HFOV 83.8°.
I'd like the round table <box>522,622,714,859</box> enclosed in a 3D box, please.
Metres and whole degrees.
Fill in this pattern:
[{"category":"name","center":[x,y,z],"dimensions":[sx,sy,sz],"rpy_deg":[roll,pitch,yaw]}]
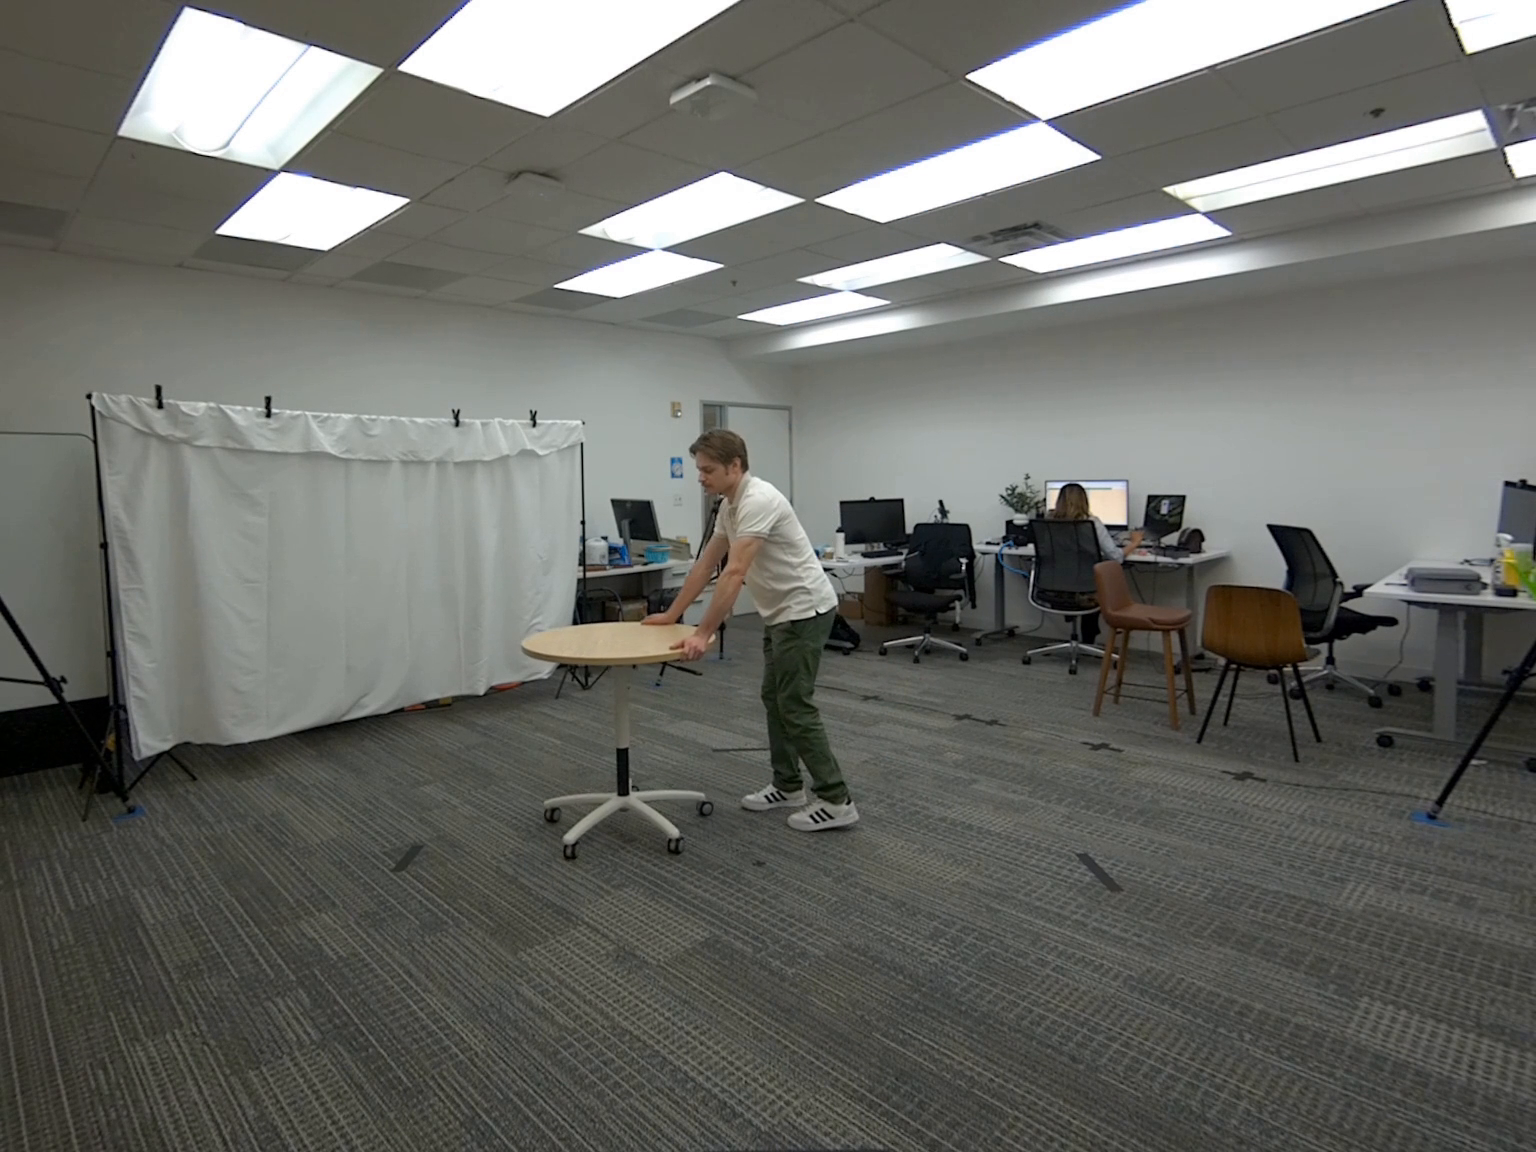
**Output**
[{"category":"round table","center":[-0.582,0.635,3.424],"dimensions":[0.763,0.791,0.768],"rpy_deg":[-1,5,-2]}]
